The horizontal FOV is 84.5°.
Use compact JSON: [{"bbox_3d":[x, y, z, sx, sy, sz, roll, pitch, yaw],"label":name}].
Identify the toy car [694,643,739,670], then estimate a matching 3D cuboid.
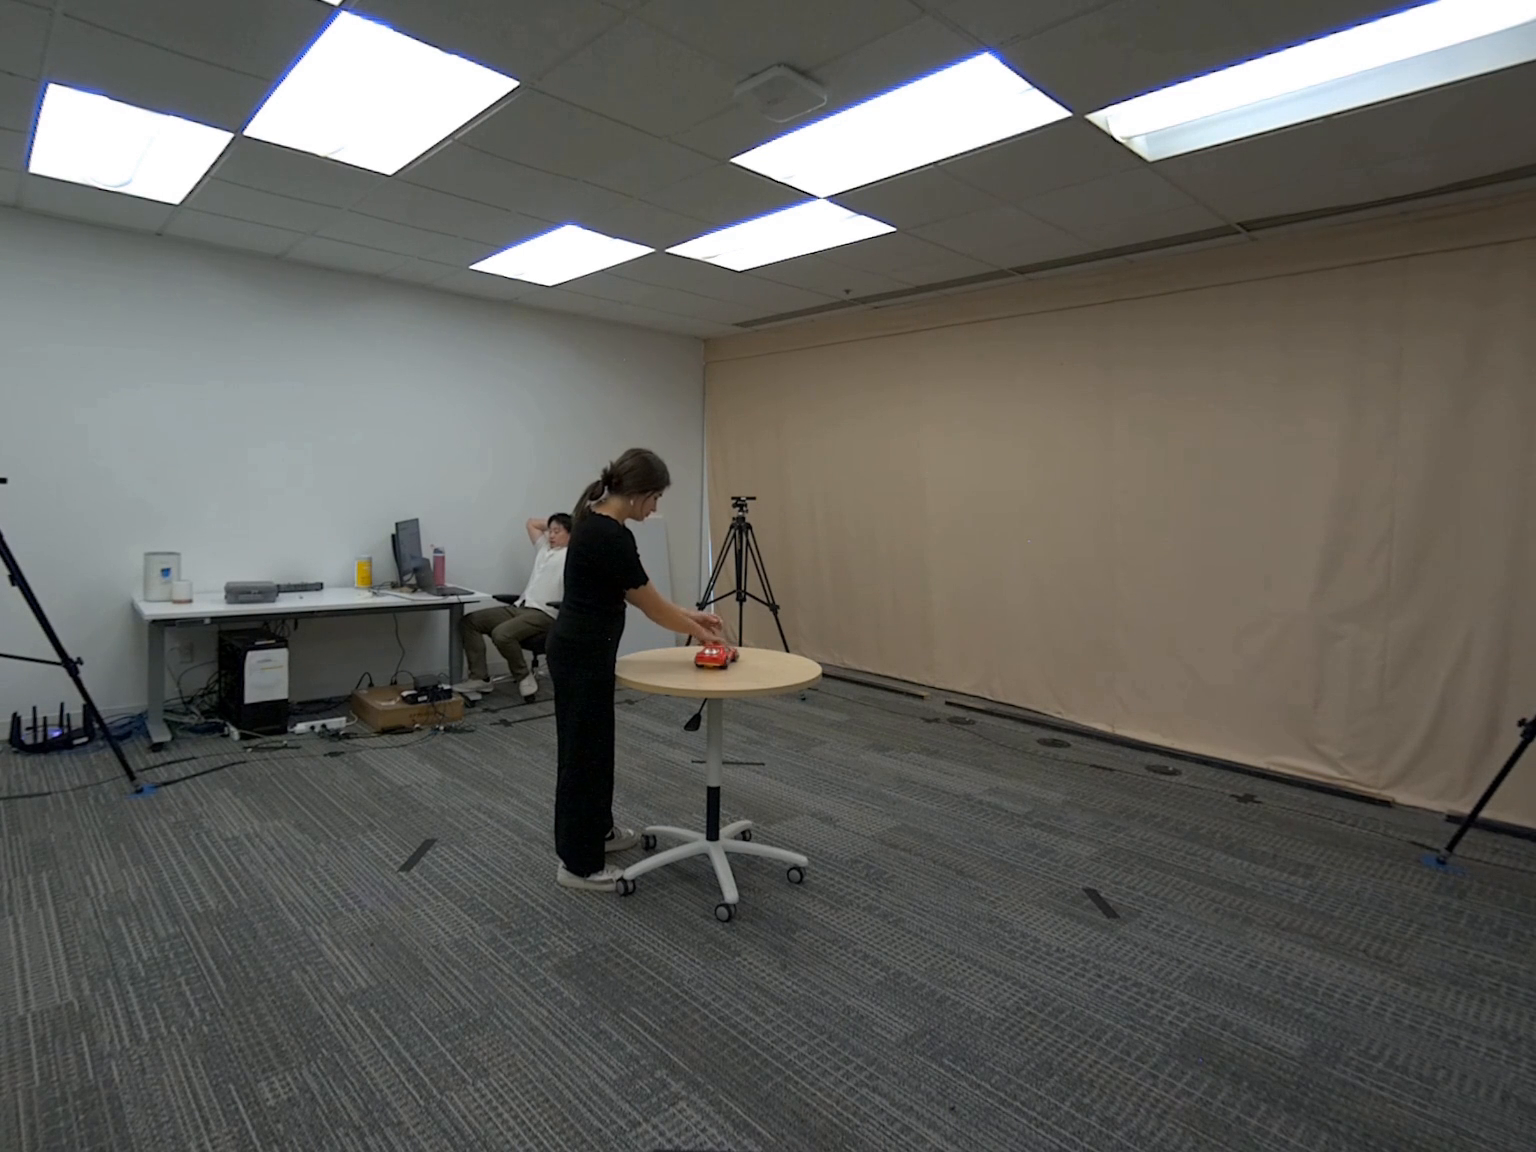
[{"bbox_3d":[-0.198,0.293,3.047,0.132,0.083,0.251,2,-6,12],"label":"toy car"}]
